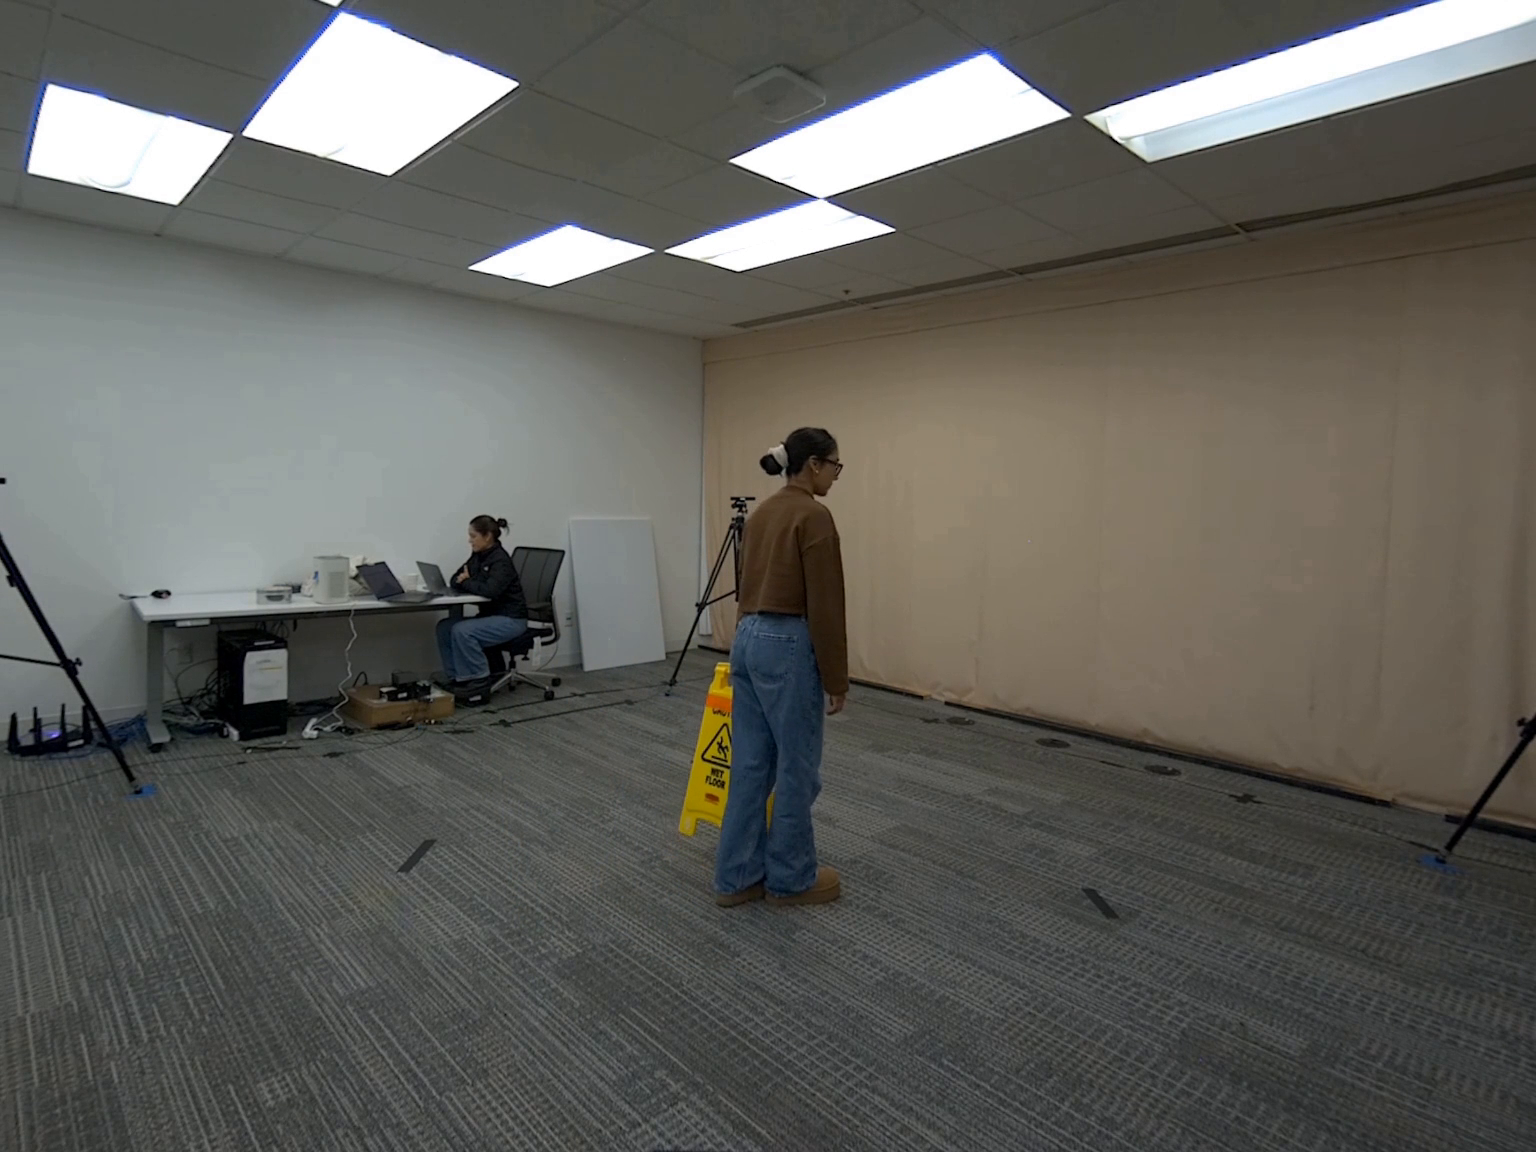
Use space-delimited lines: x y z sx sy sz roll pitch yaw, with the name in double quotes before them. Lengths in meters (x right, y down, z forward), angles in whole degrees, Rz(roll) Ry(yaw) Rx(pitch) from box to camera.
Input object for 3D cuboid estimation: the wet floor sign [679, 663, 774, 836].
"wet floor sign" -0.142 0.671 3.231 0.289 0.645 0.283 4 2 38
